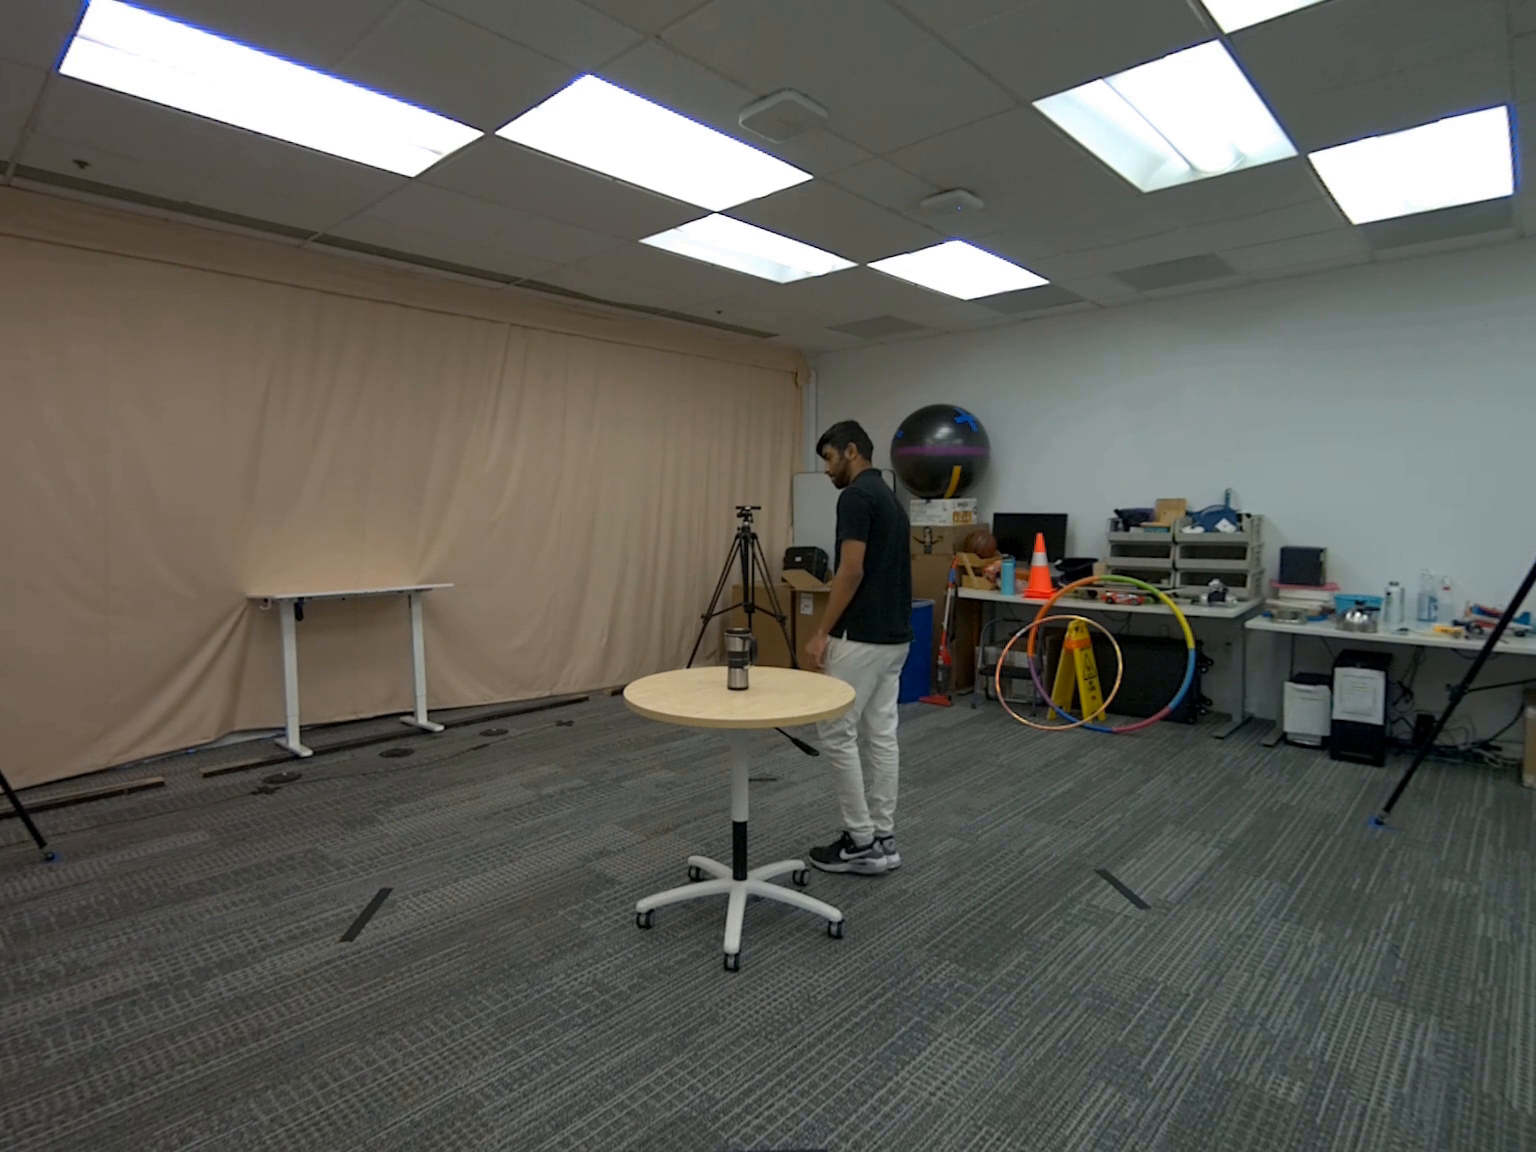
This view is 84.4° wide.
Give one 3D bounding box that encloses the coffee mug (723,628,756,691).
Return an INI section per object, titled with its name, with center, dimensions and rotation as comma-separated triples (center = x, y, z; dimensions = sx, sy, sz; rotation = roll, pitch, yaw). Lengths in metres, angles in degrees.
[coffee mug]
center = -0.087, 0.282, 2.779
dimensions = 0.085, 0.203, 0.125
rotation = 1, -1, -30
